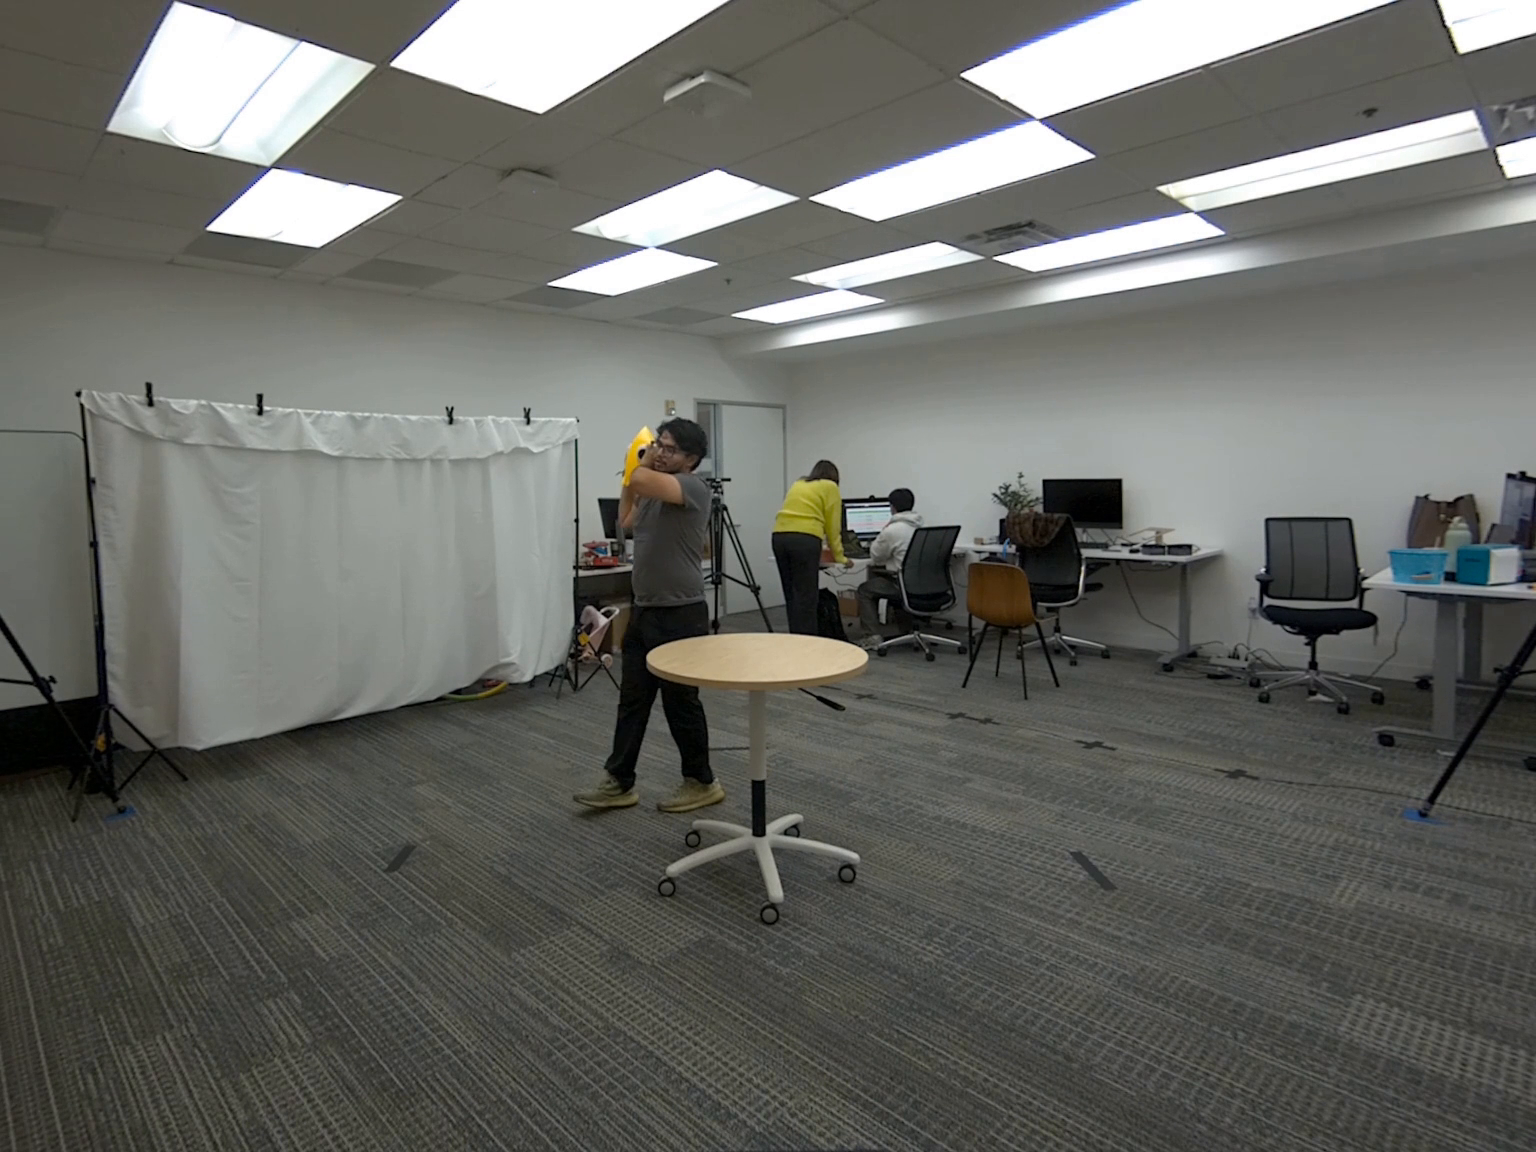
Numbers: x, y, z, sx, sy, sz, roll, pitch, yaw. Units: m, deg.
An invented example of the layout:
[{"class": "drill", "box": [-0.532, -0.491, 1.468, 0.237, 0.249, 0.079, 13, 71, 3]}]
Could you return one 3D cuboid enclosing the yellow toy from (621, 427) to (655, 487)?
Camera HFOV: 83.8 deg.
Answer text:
[{"class": "yellow toy", "box": [-0.550, -0.517, 3.688, 0.190, 0.226, 0.212, -23, 22, -29]}]
